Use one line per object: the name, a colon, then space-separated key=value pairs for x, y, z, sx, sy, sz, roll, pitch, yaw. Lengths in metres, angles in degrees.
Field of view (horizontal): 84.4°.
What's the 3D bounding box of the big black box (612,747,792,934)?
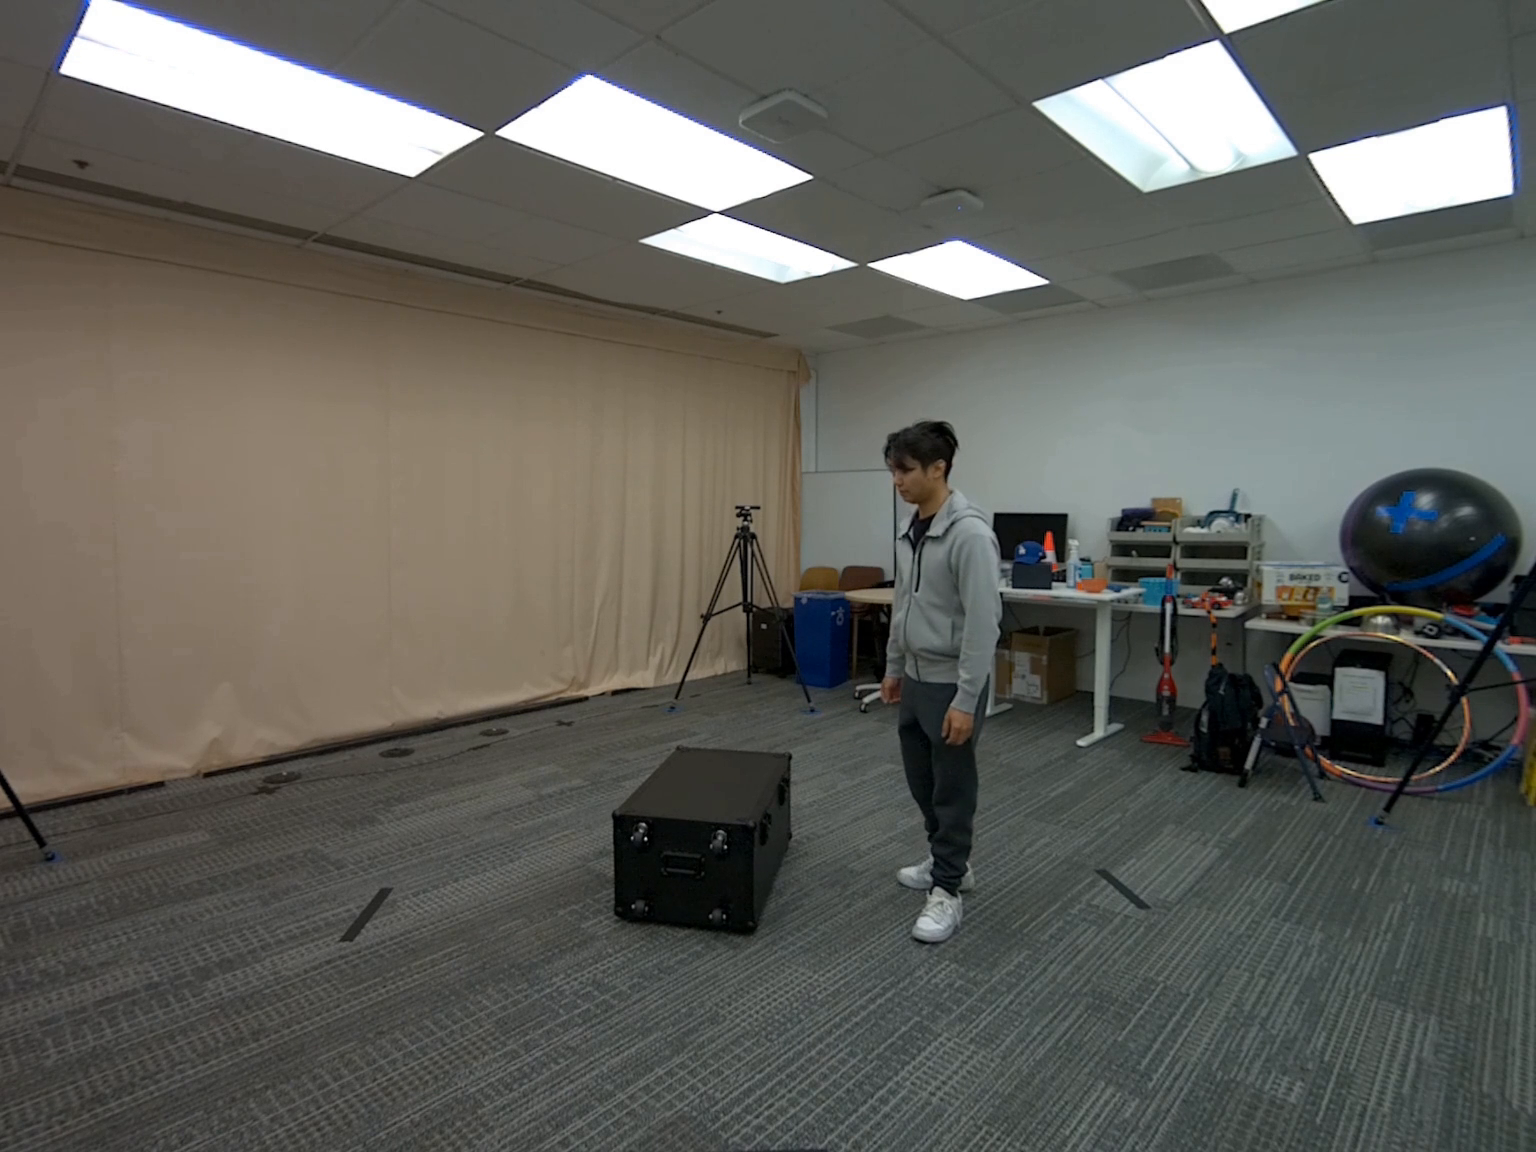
big black box: x=-0.217 y=0.940 z=3.104 sx=0.528 sy=0.395 sz=0.852 roll=1 pitch=4 yaw=11
